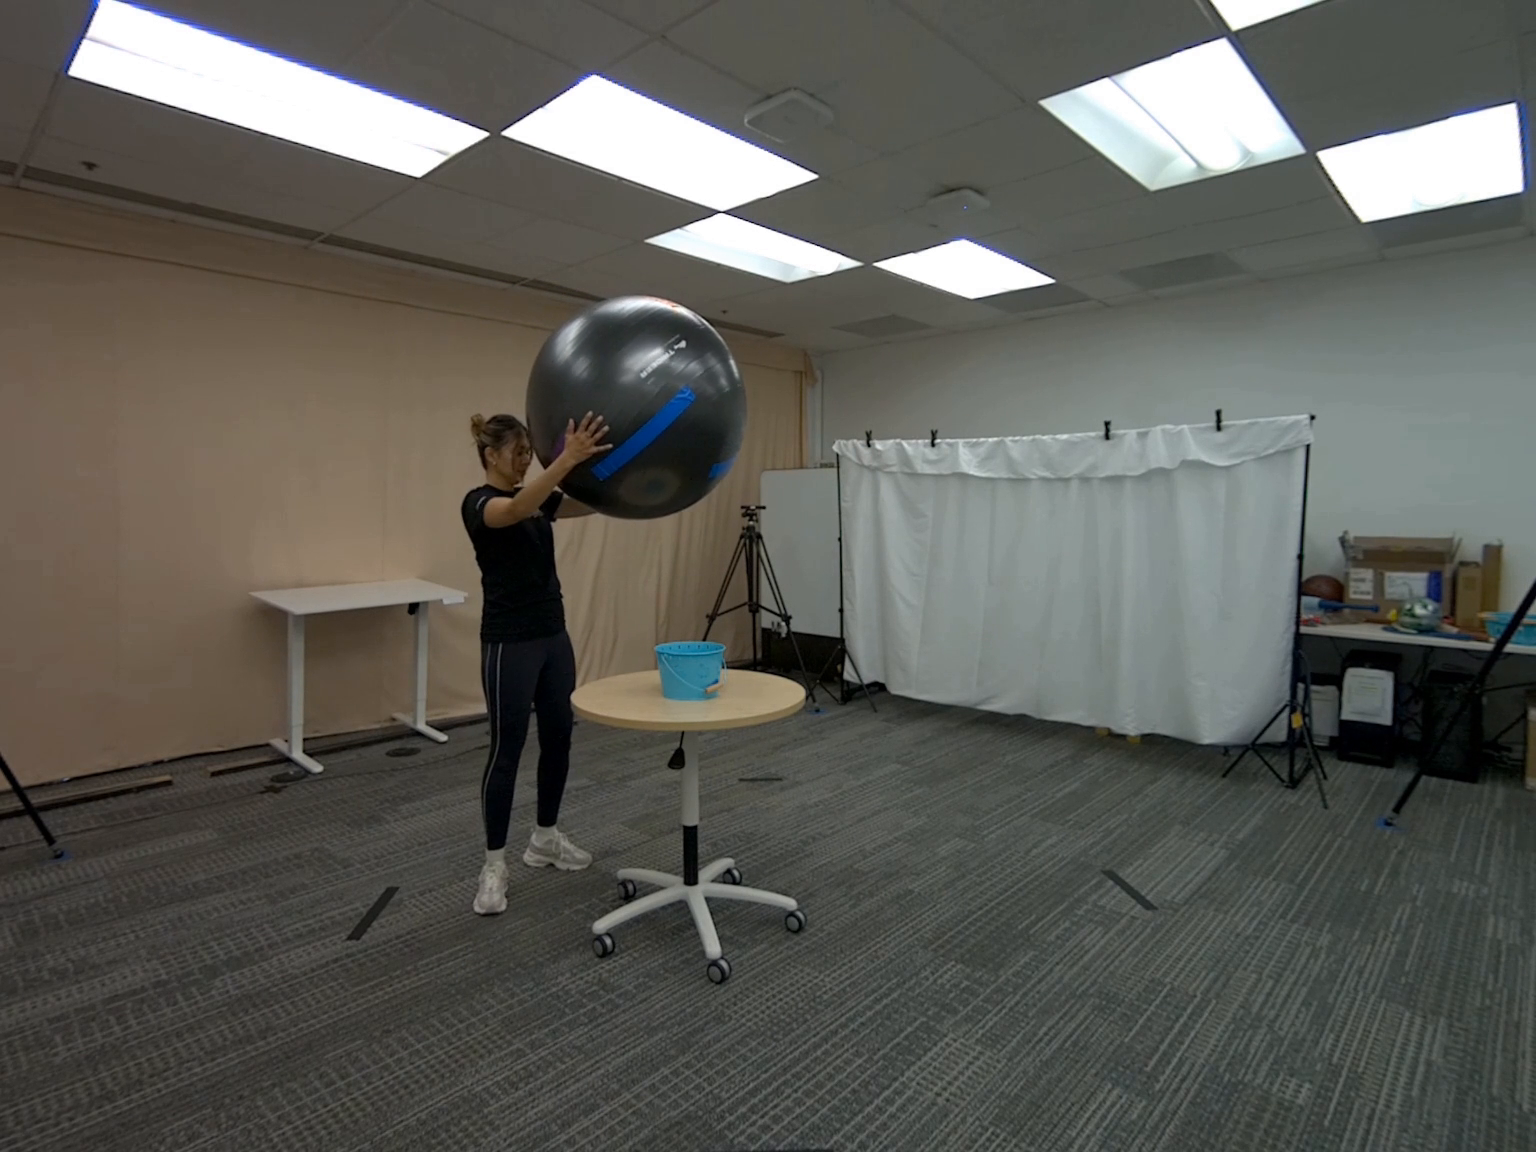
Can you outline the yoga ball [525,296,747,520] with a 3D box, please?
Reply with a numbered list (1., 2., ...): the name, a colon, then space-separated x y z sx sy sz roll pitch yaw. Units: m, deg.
1. yoga ball: -0.448 -0.565 2.905 0.757 0.756 0.761 0 4 -2
